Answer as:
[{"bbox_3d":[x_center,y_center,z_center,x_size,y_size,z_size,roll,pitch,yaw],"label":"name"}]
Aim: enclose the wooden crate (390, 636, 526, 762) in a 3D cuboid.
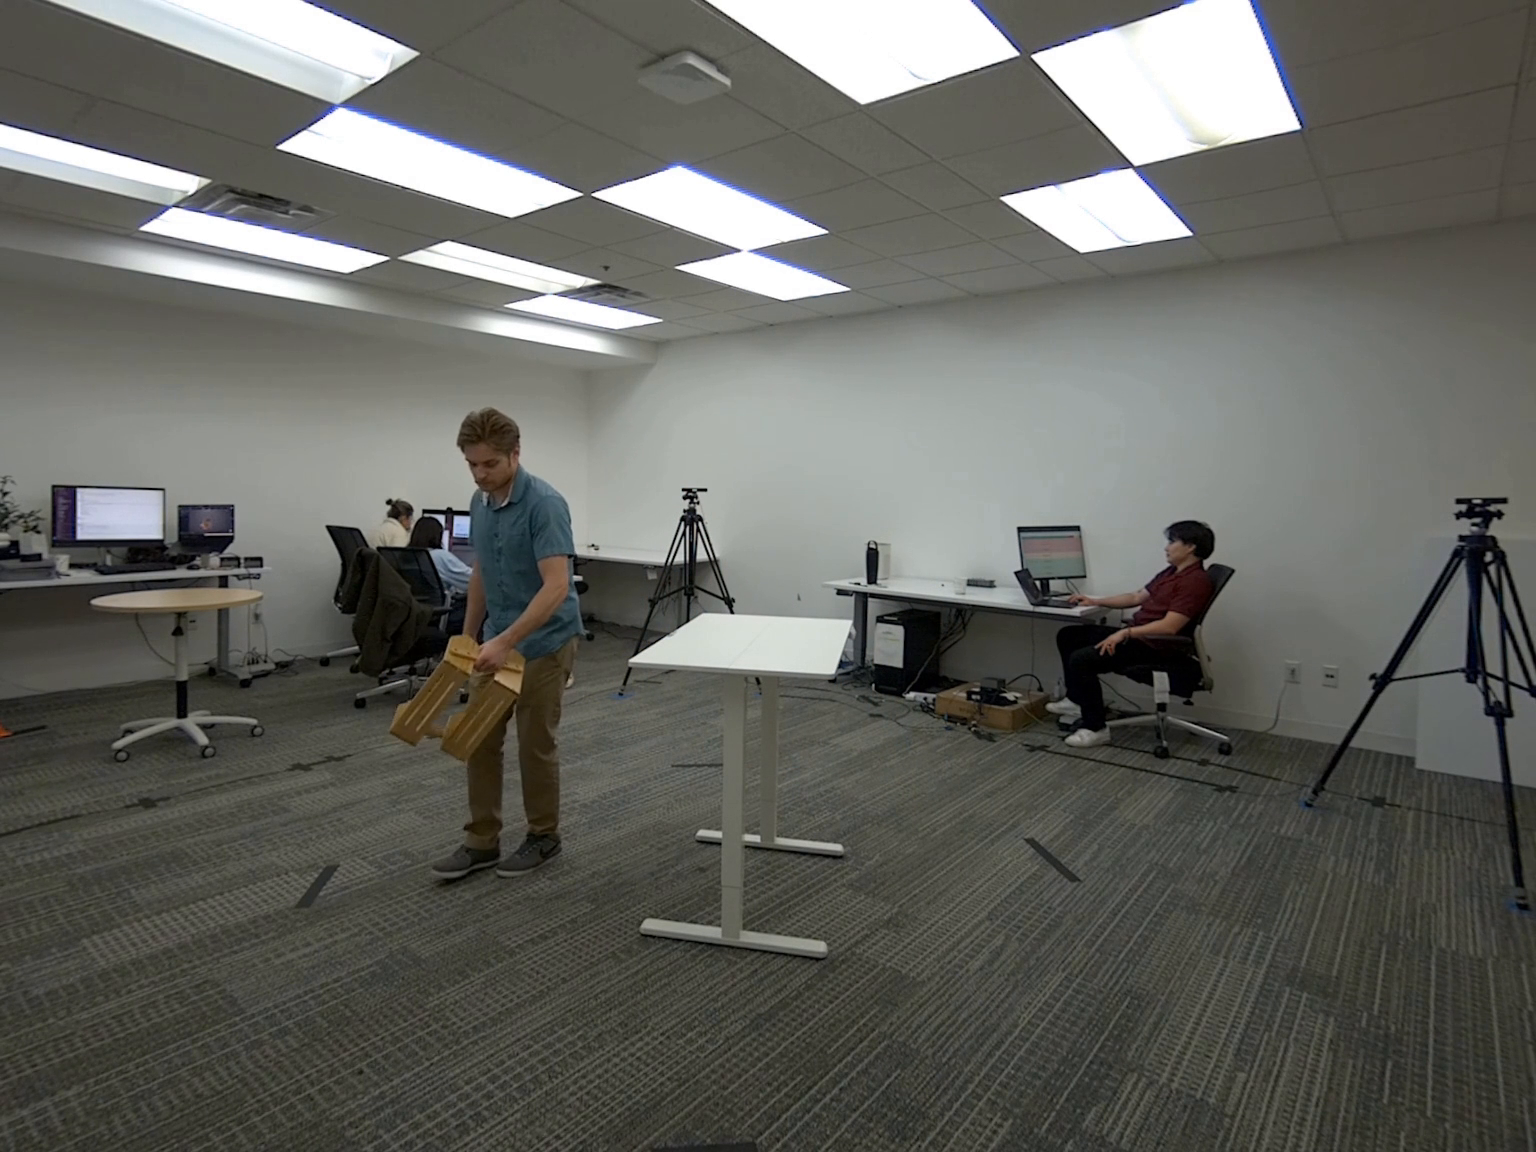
[{"bbox_3d":[-1.003,0.364,2.713,0.266,0.324,0.310,36,11,-20],"label":"wooden crate"}]
